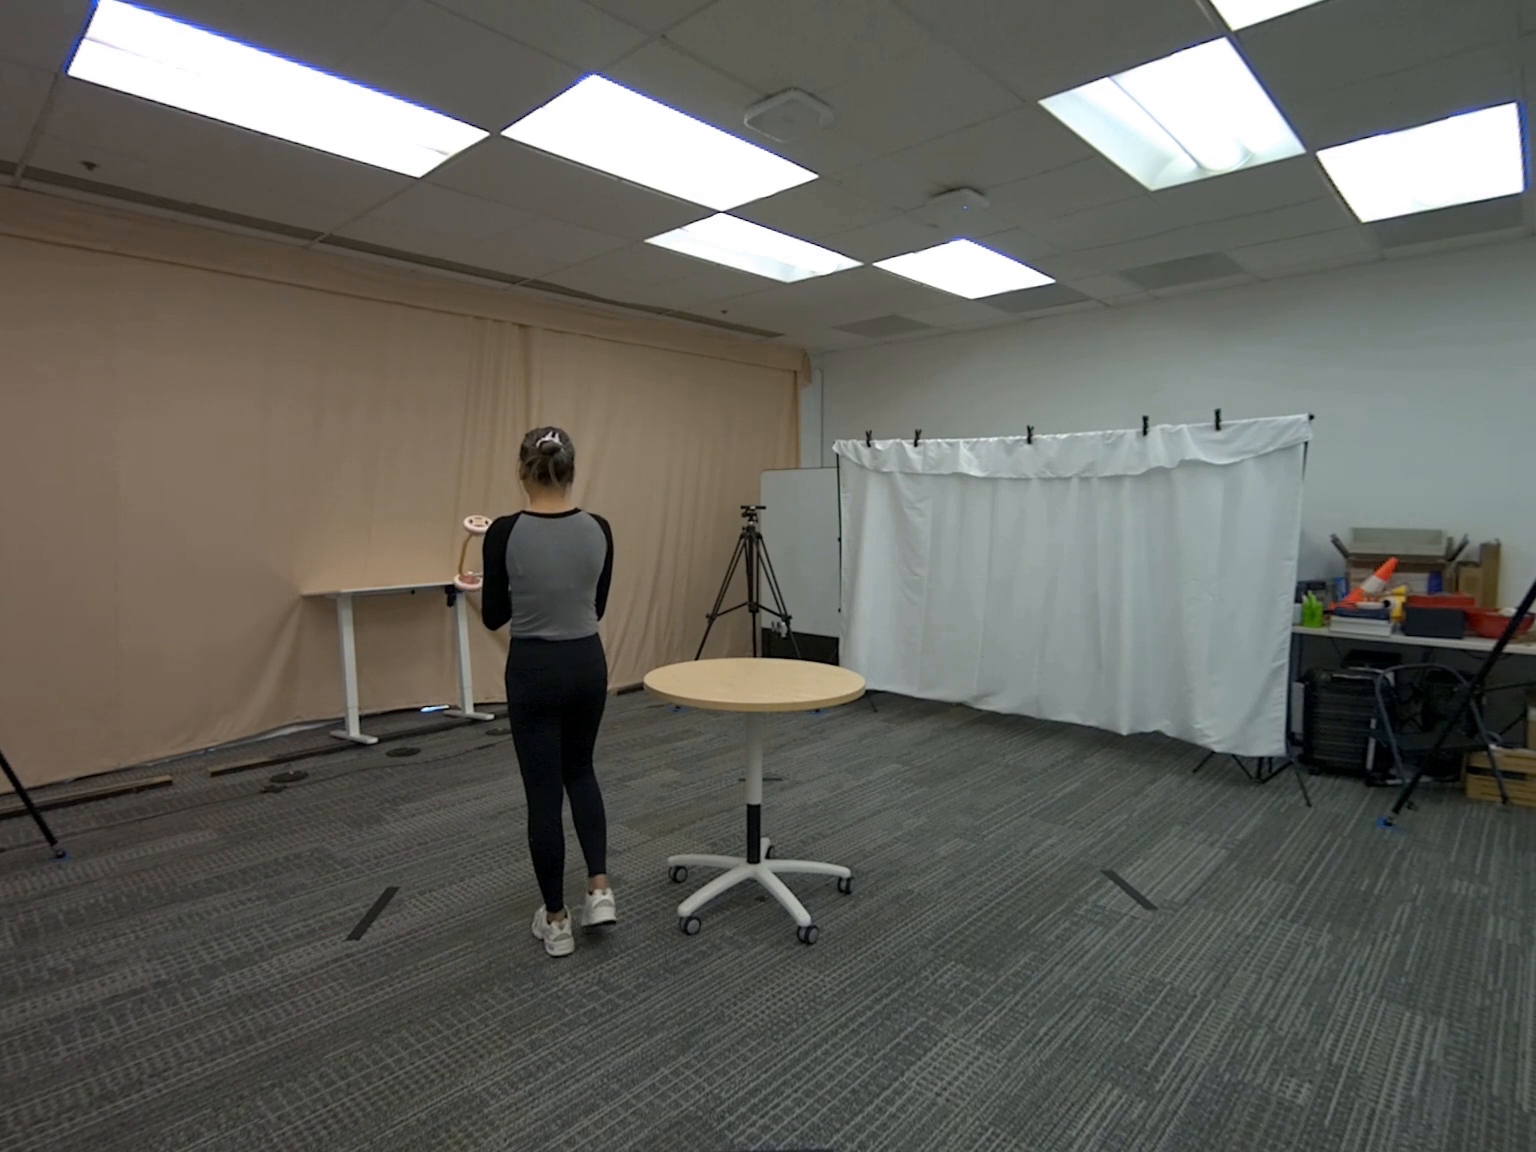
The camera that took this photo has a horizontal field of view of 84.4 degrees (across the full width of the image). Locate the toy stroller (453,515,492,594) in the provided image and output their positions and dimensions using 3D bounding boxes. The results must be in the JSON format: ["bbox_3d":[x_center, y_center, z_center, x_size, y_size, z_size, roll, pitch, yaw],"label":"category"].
[{"bbox_3d":[-0.914,-0.026,3.135,0.551,0.280,0.333,29,22,25],"label":"toy stroller"}]
